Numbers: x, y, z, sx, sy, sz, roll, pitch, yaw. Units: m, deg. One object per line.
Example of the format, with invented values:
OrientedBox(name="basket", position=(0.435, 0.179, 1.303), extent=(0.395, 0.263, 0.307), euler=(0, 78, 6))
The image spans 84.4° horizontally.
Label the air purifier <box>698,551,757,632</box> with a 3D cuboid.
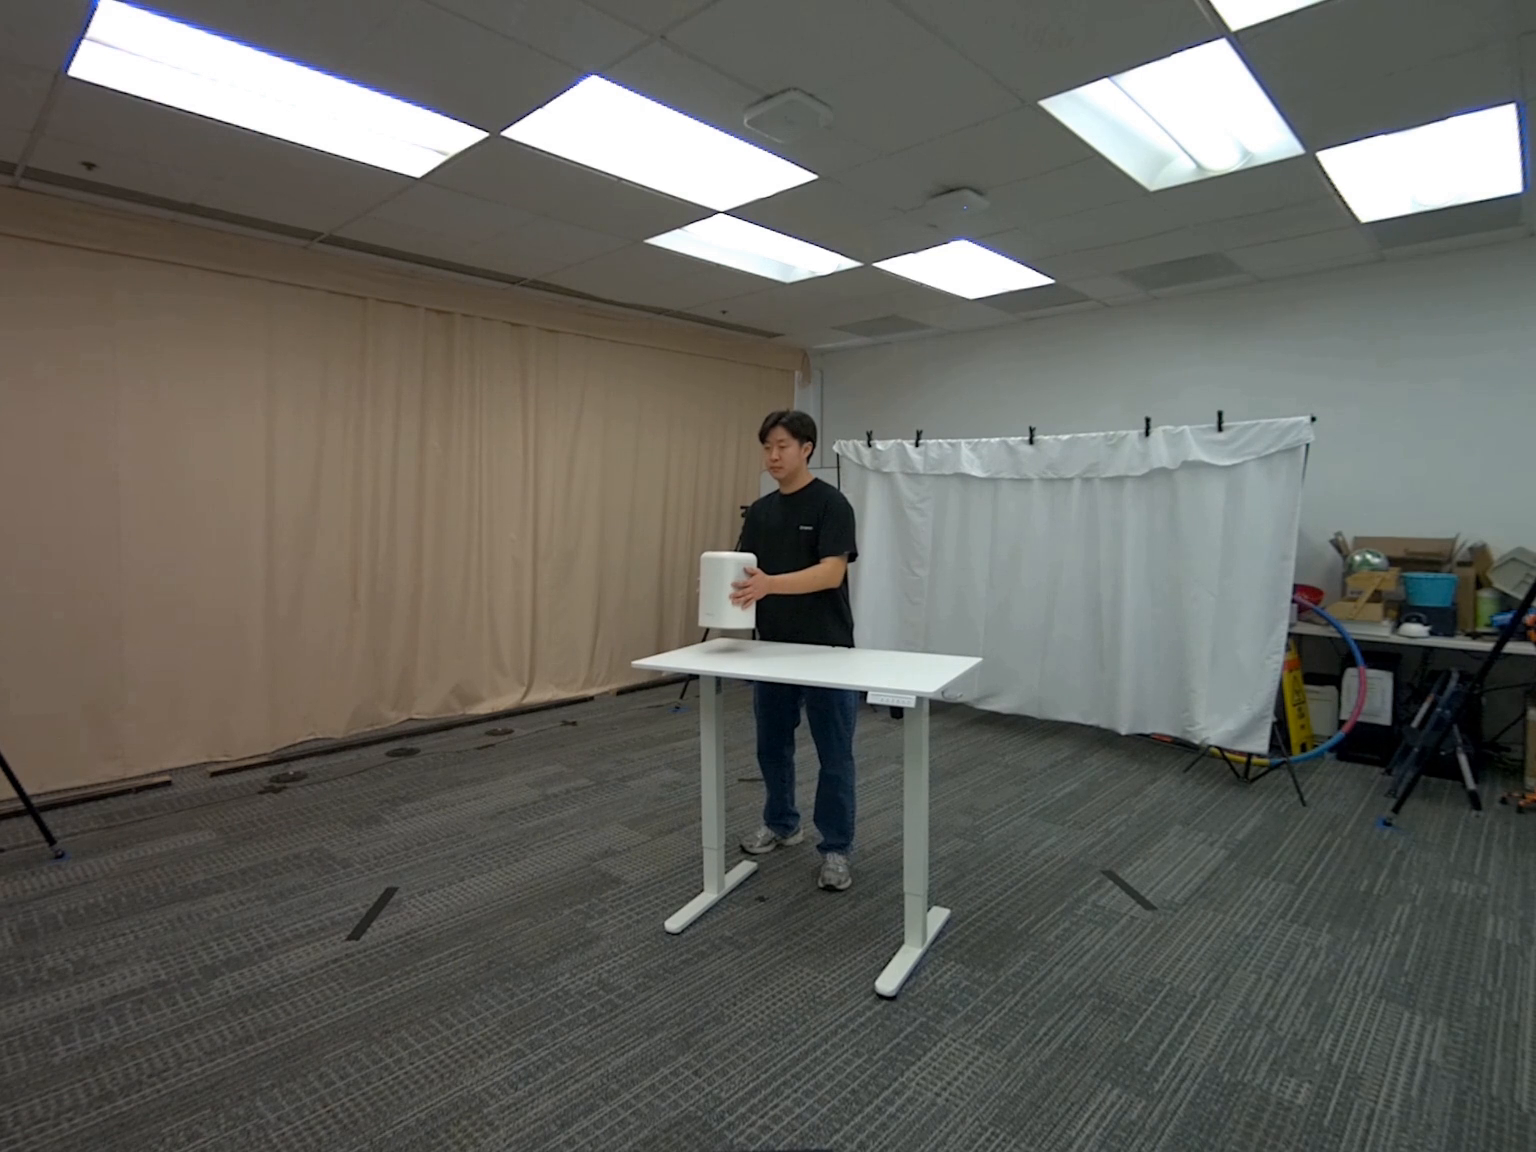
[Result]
OrientedBox(name="air purifier", position=(-0.139, 0.053, 2.963), extent=(0.166, 0.265, 0.176), euler=(3, -1, -44))
